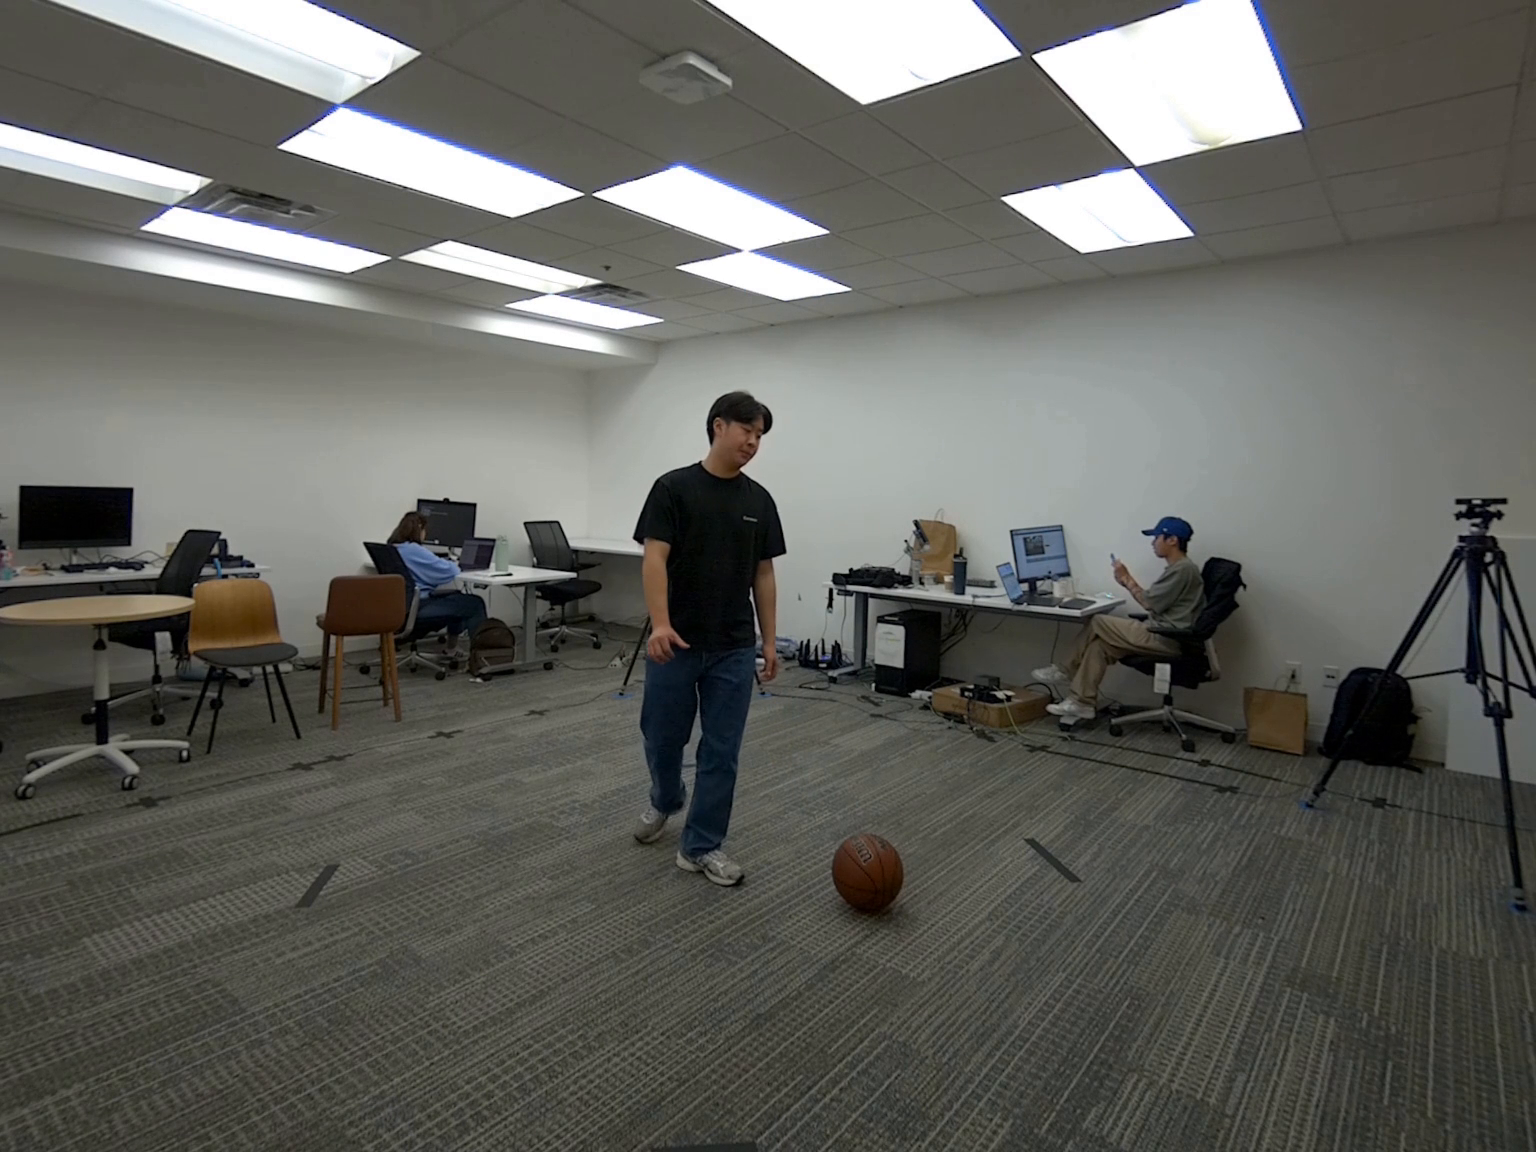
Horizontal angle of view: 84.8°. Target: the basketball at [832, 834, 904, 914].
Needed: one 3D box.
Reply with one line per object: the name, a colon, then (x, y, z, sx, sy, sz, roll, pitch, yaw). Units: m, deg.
basketball: (0.327, 0.980, 2.854, 0.235, 0.235, 0.237, 1, 4, -2)
